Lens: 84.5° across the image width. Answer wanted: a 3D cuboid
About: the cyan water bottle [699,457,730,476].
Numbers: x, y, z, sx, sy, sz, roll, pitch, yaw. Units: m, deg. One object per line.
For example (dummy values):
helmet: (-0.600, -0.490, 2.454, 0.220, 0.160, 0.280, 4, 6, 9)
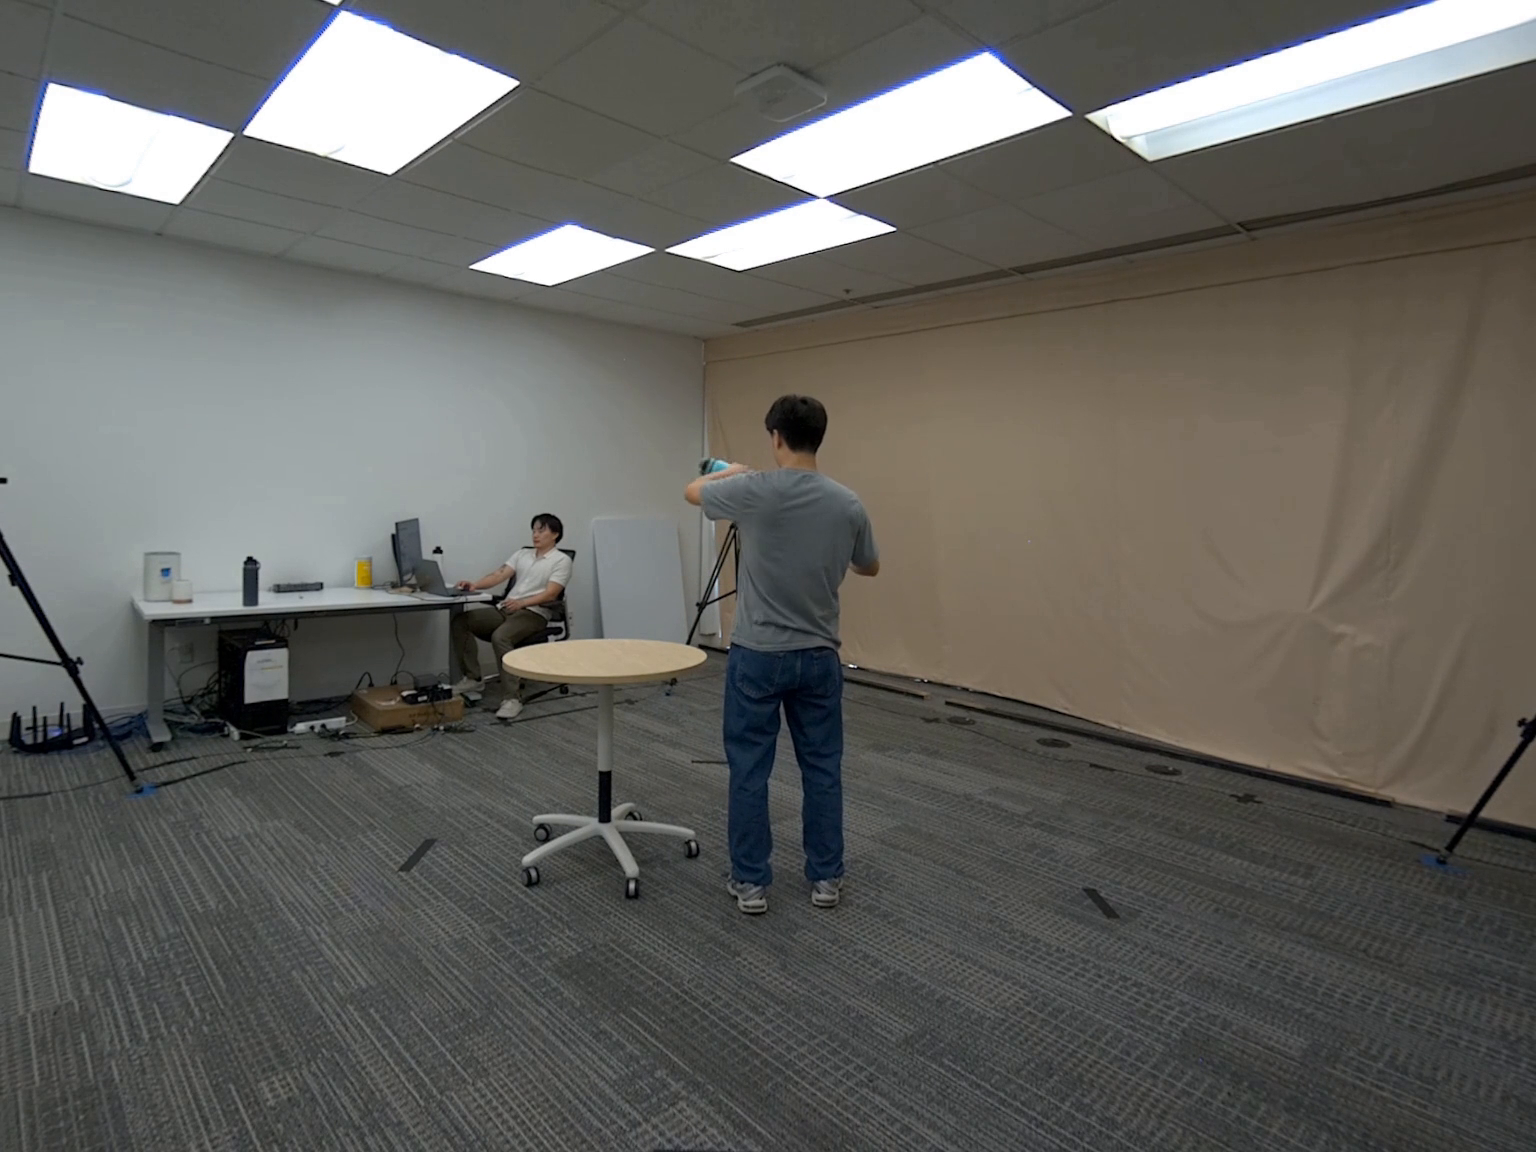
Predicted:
cyan water bottle: (-0.145, -0.361, 3.304, 0.284, 0.092, 0.092, 19, 5, 2)
